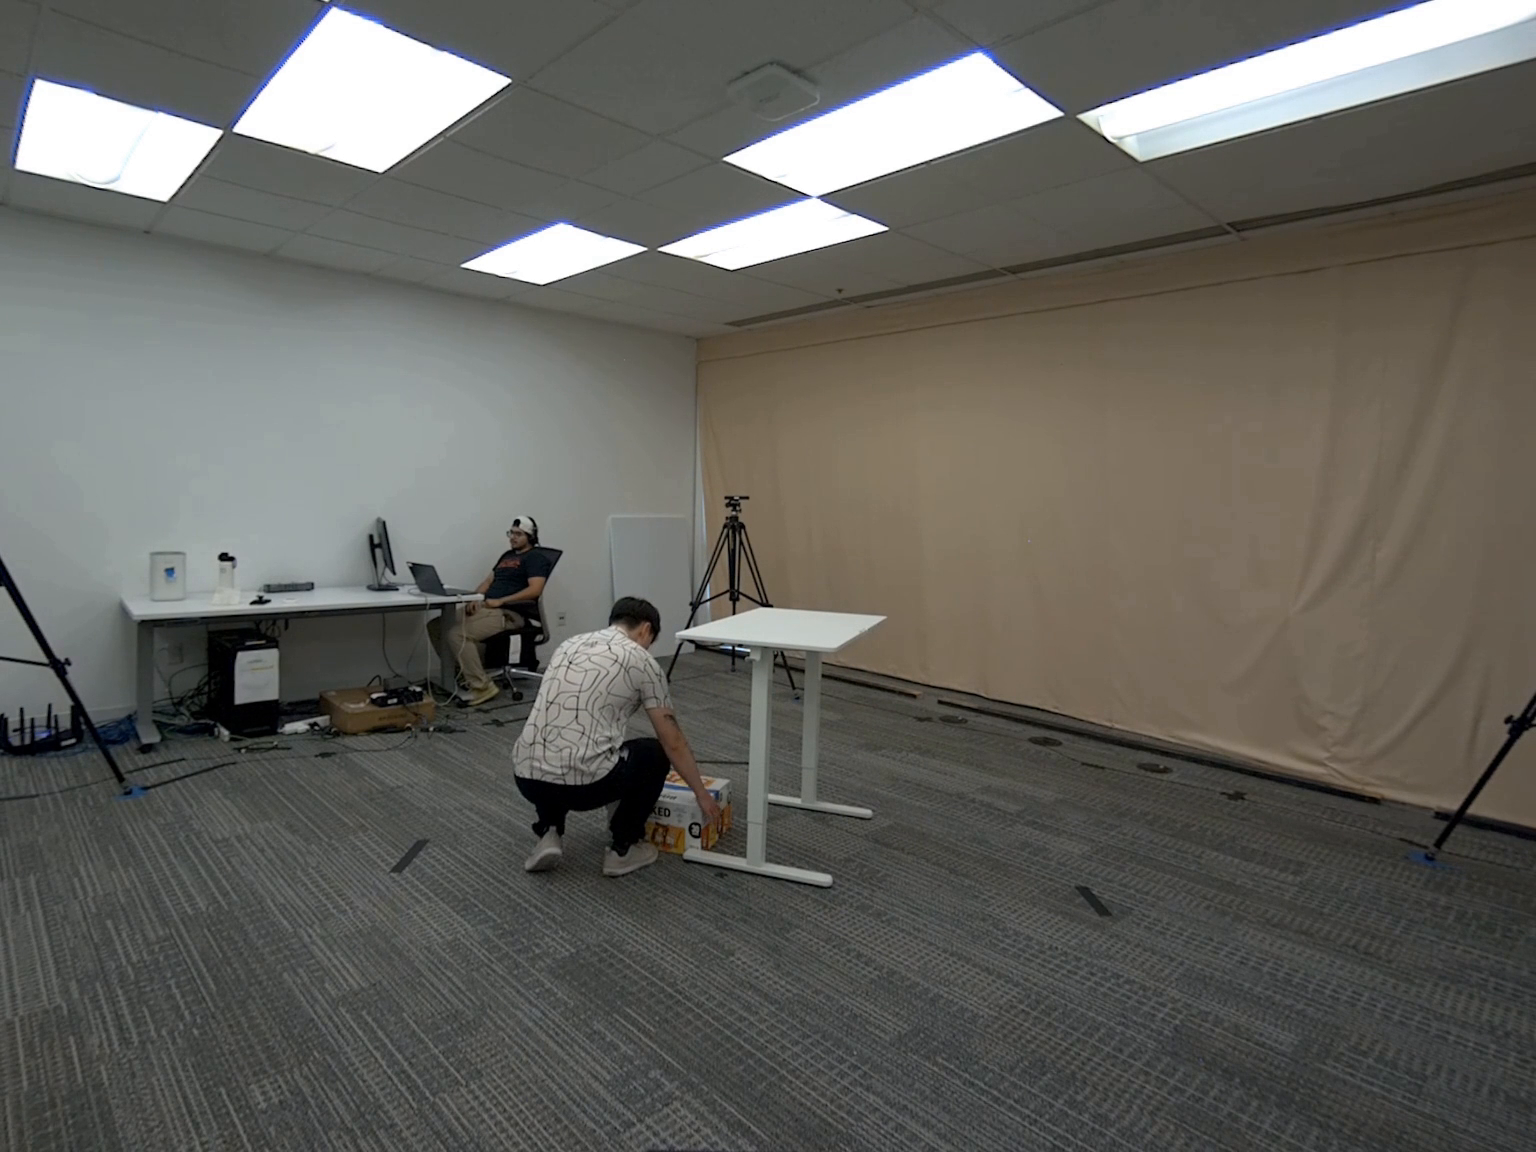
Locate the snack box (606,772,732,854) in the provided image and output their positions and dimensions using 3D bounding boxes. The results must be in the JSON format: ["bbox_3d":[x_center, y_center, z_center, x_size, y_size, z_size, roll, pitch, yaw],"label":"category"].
[{"bbox_3d":[-0.408,0.965,3.464,0.411,0.205,0.336,3,4,19],"label":"snack box"}]
